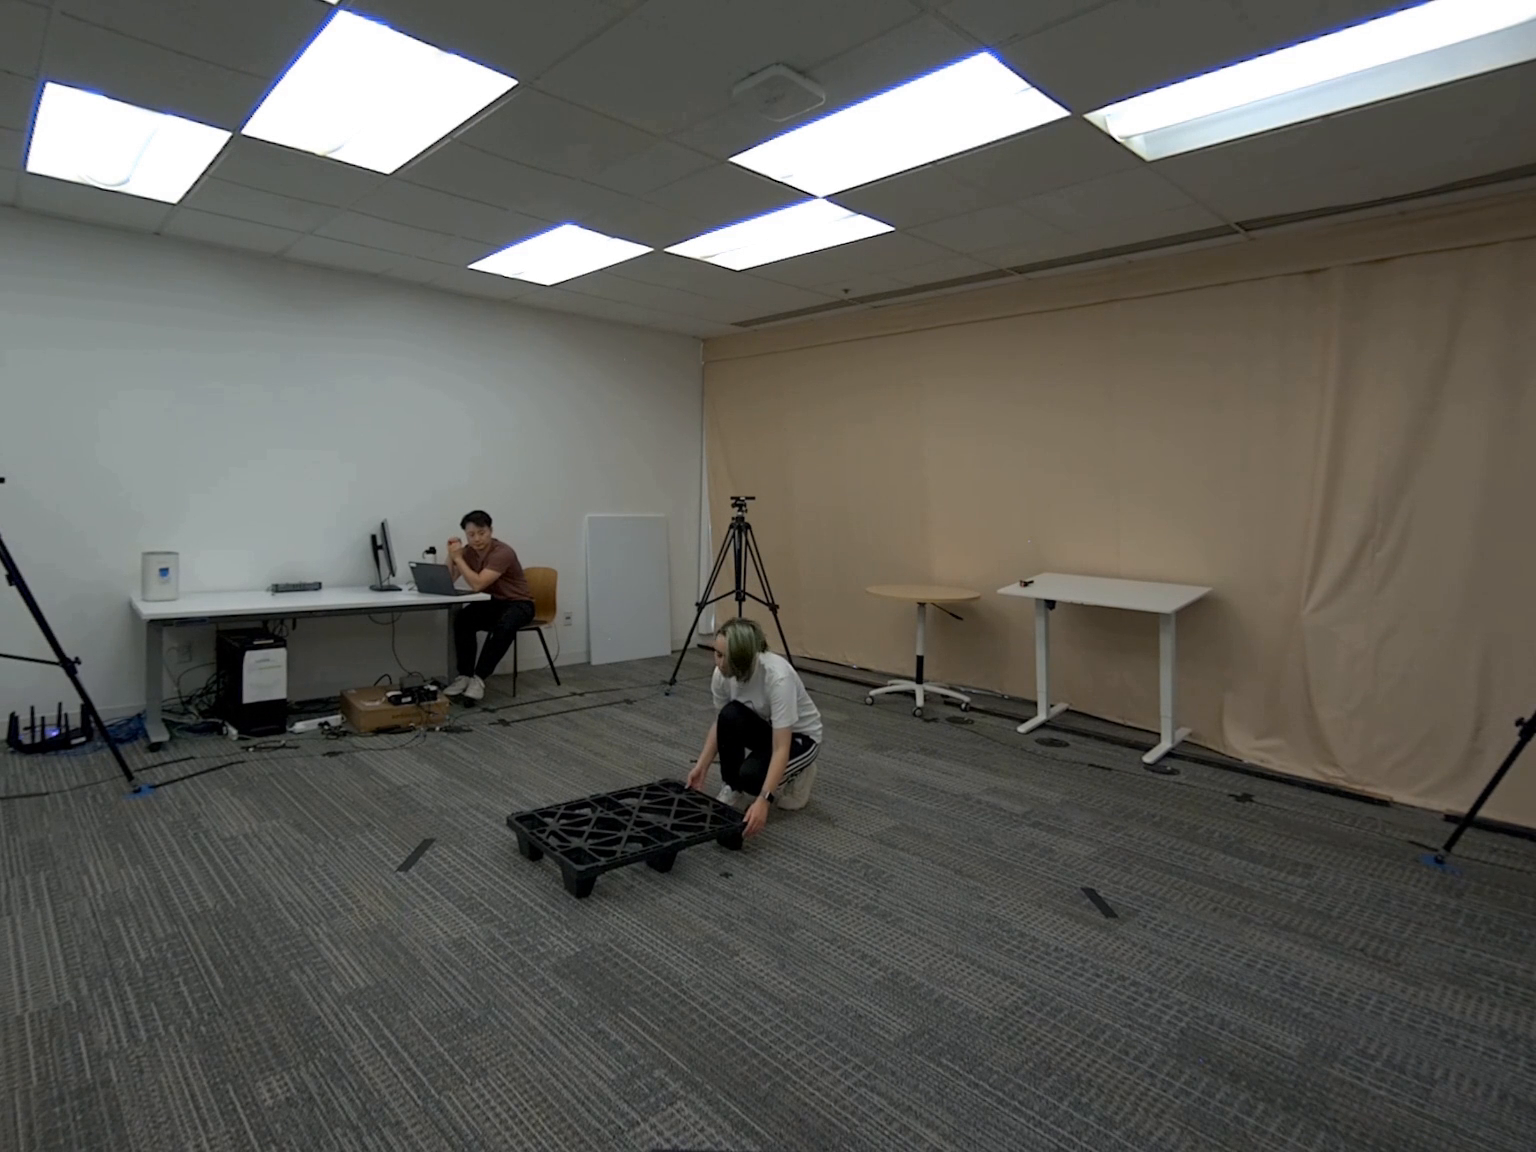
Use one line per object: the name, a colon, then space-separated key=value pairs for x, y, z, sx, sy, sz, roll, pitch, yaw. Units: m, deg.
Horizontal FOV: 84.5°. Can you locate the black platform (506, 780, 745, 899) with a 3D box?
black platform: x=-0.546 y=1.014 z=3.294 sx=0.787 sy=0.143 sz=0.620 roll=-3 pitch=6 yaw=-40
